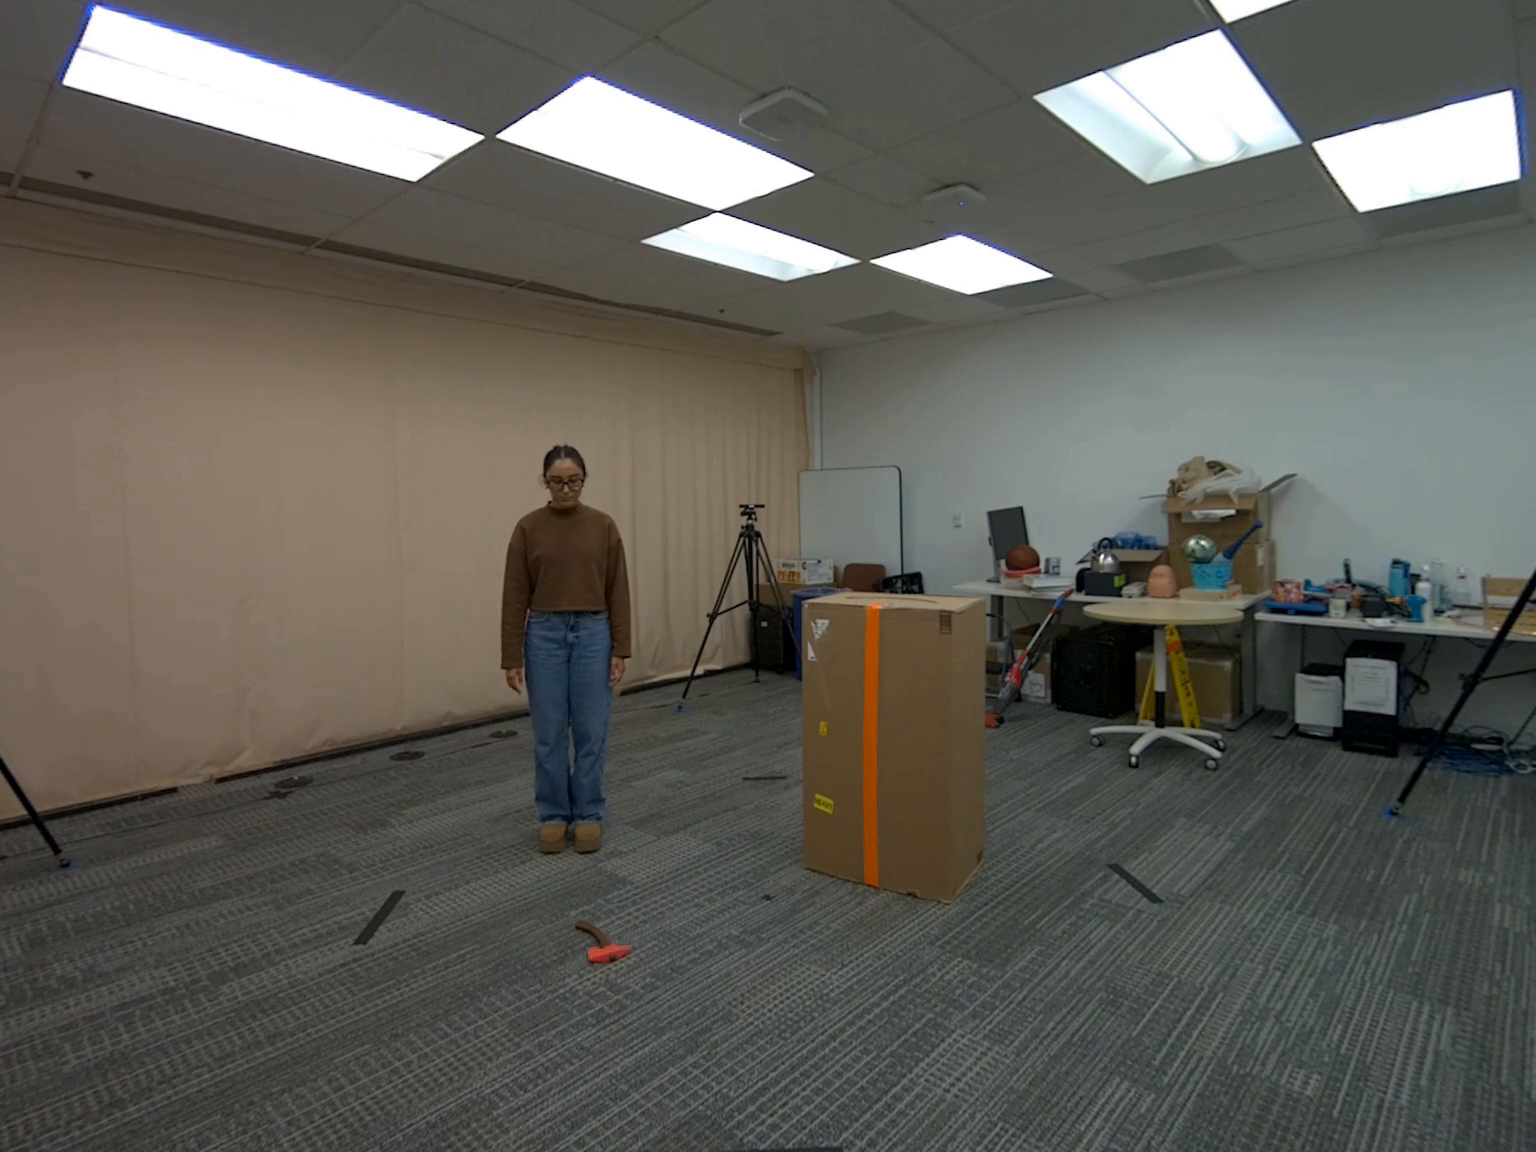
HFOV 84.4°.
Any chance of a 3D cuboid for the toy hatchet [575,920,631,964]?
[{"bbox_3d":[-0.562,1.170,2.673,0.279,0.029,0.127,1,7,44],"label":"toy hatchet"}]
